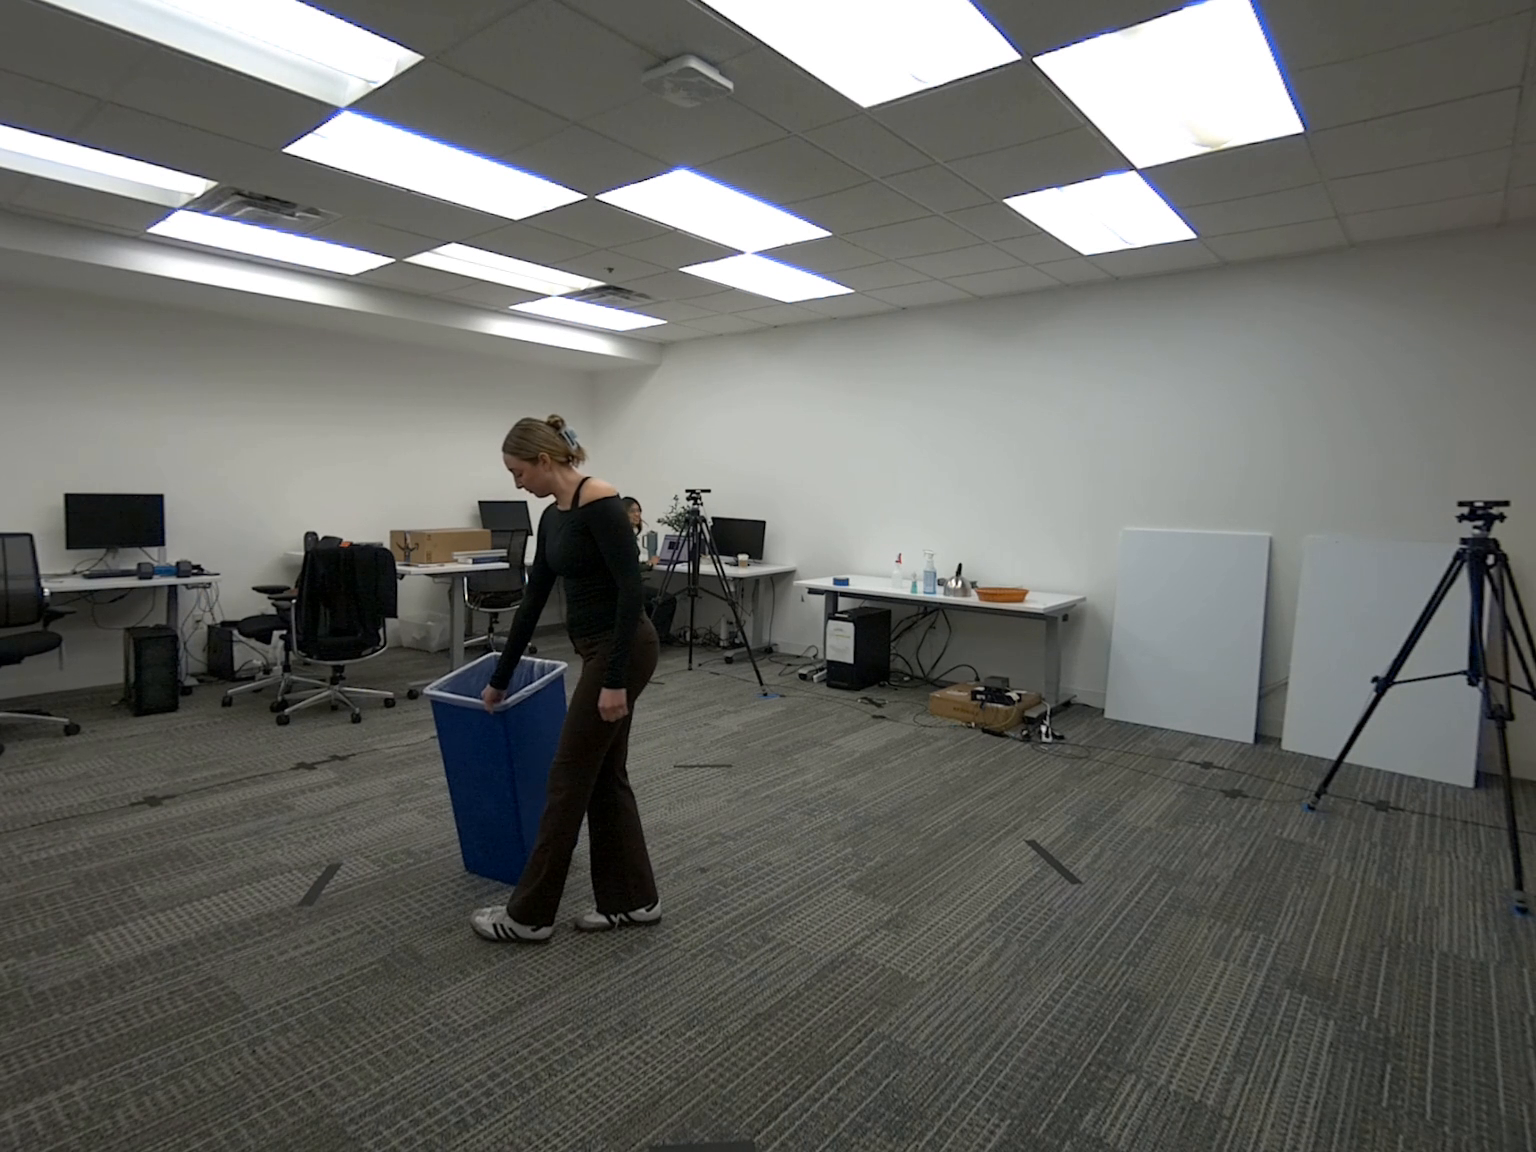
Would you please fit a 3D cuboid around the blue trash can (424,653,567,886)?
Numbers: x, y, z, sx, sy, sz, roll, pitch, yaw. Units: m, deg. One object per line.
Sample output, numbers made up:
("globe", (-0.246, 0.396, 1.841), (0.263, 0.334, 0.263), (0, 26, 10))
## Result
("blue trash can", (-0.938, 0.688, 3.037), (0.388, 0.704, 0.369), (3, 15, 25))
